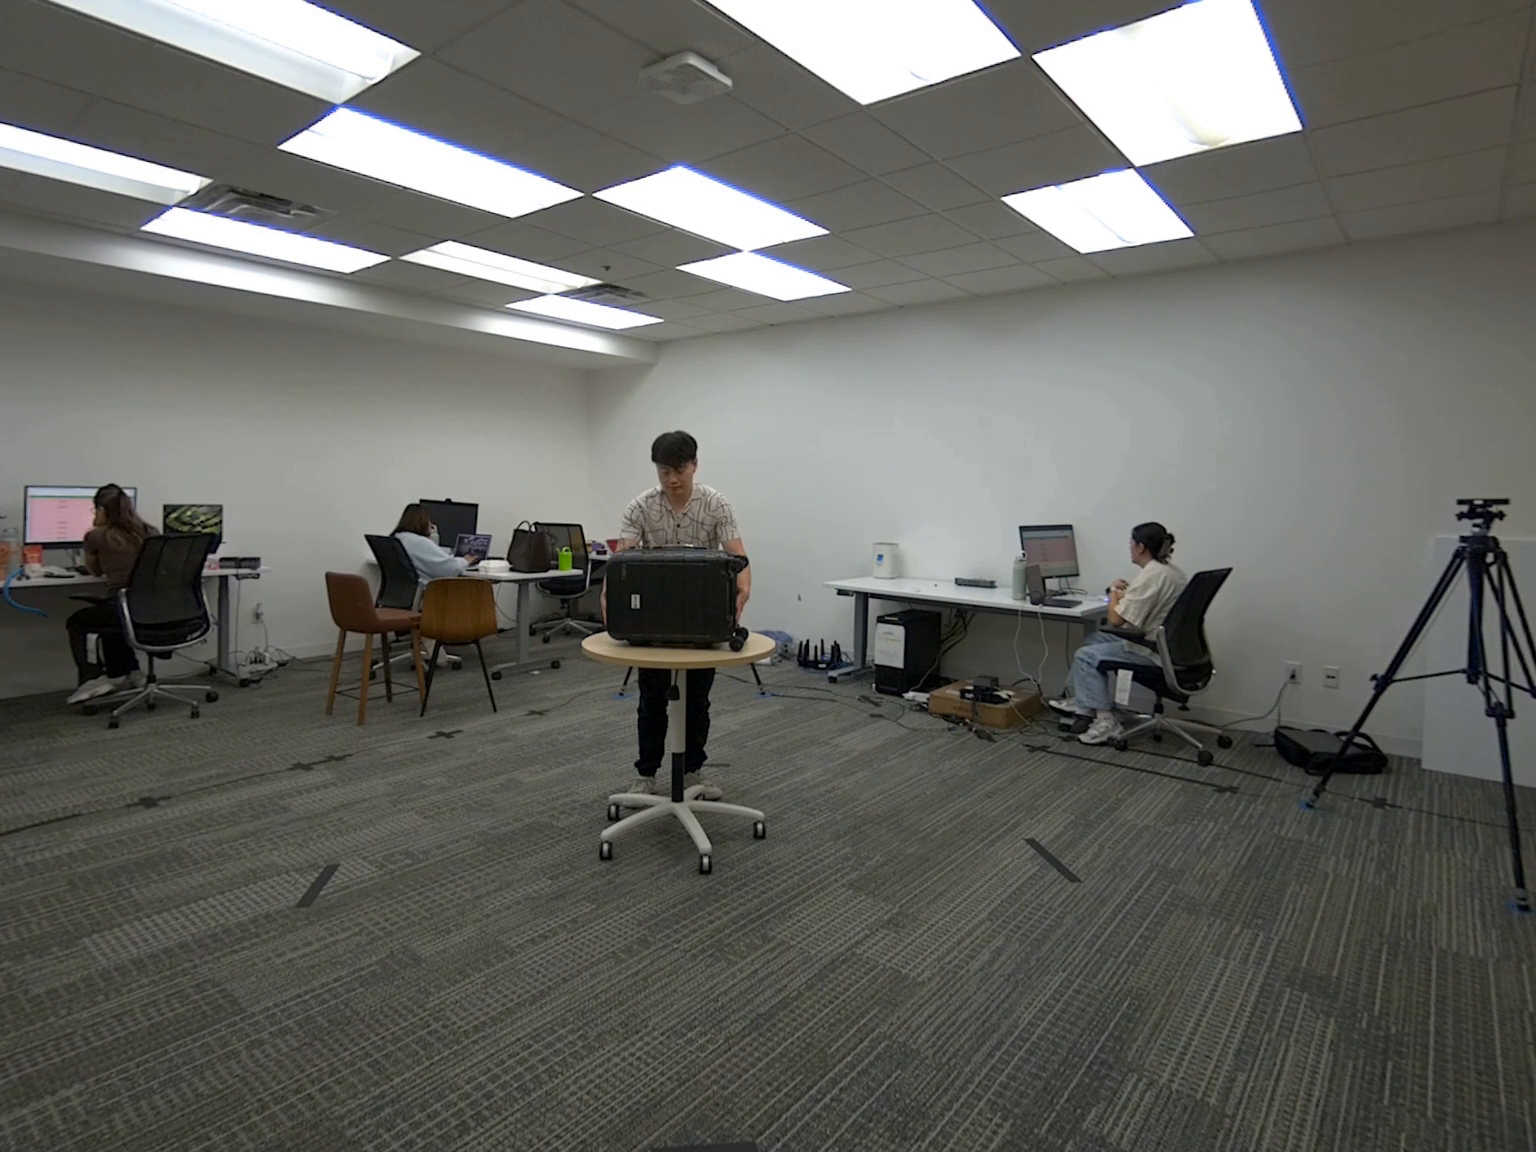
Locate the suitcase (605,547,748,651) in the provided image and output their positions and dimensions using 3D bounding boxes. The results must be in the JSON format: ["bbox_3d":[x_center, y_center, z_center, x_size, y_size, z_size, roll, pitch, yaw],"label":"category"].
[{"bbox_3d":[-0.373,0.070,3.318,0.553,0.374,0.247,2,4,6],"label":"suitcase"}]
